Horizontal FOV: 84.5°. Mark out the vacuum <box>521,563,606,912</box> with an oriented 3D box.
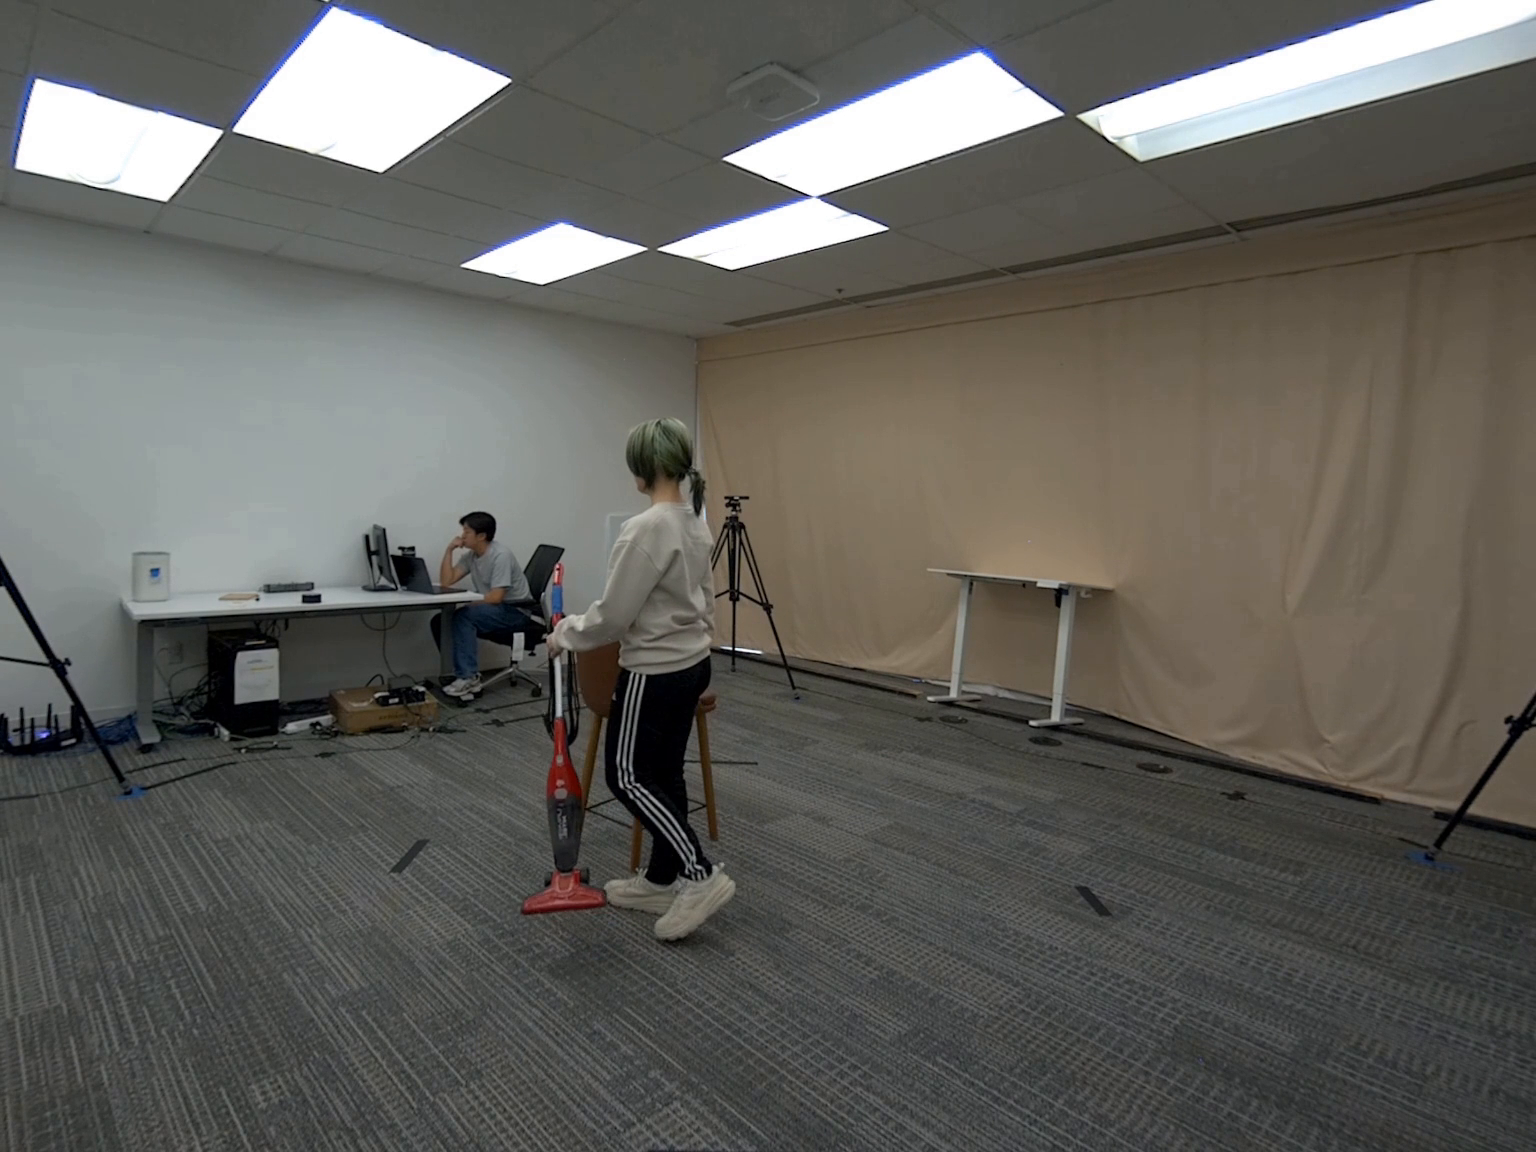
[{"bbox_3d":[-0.680,0.472,2.730,0.250,1.066,0.143,-4,-20,-11],"label":"vacuum"}]
